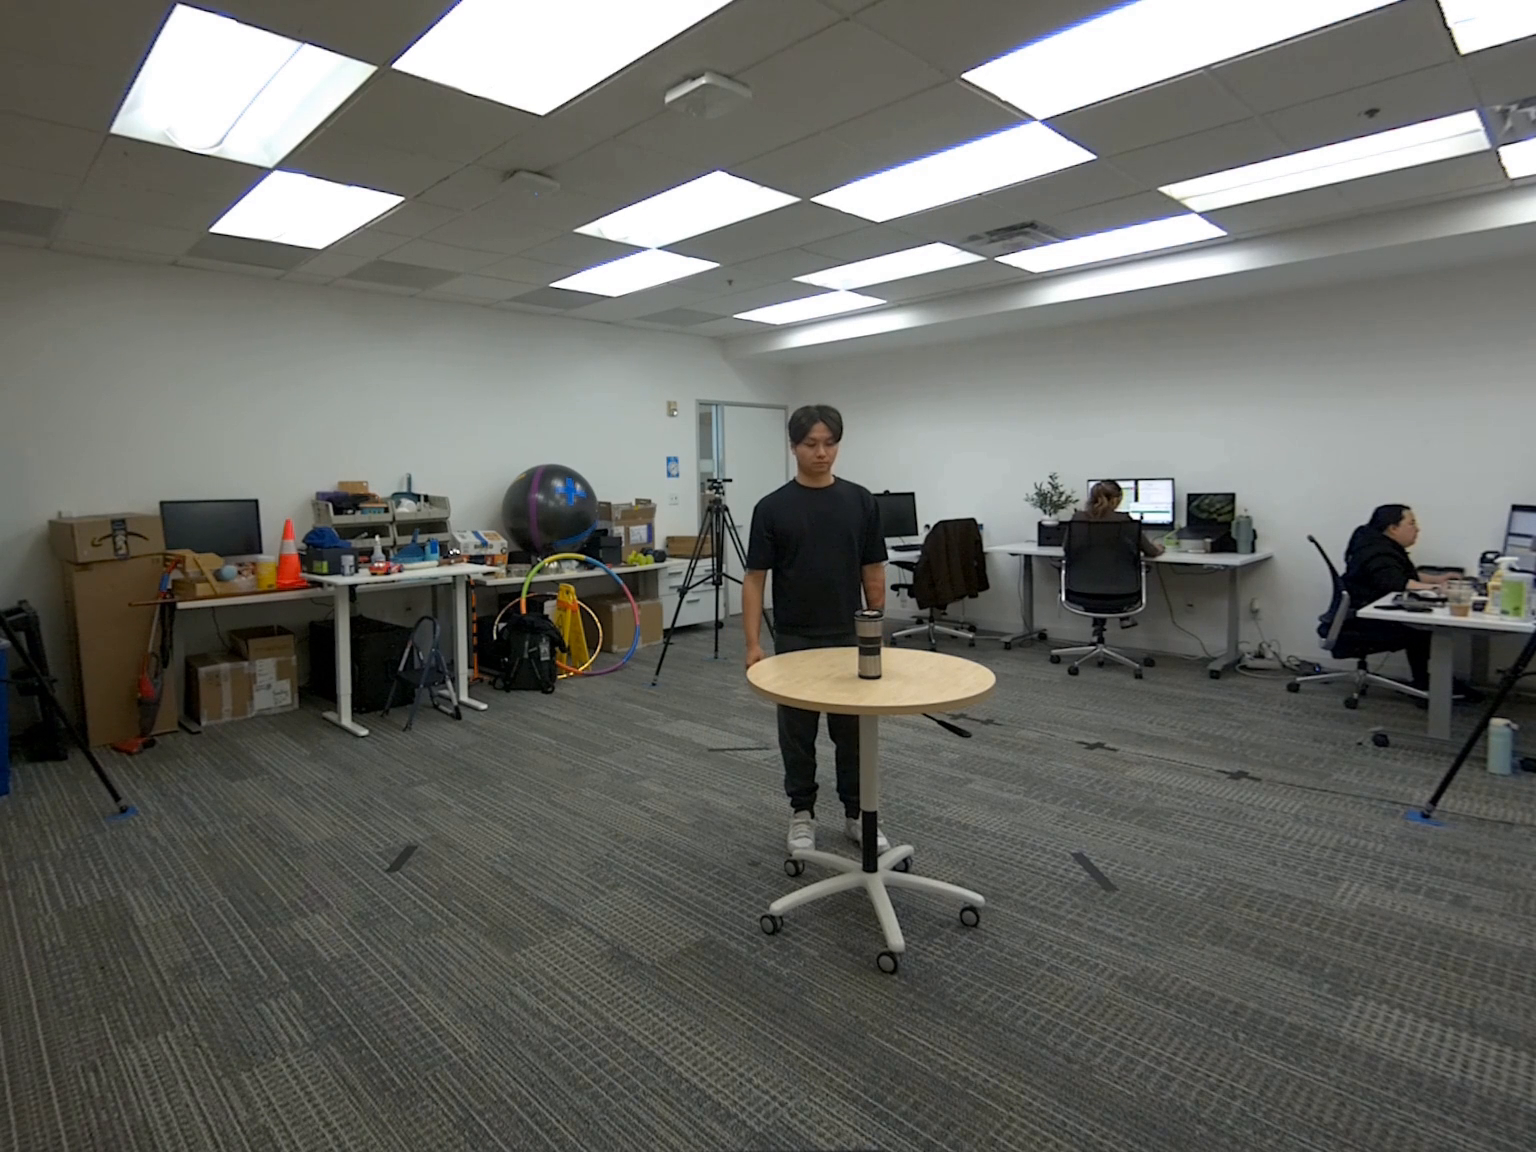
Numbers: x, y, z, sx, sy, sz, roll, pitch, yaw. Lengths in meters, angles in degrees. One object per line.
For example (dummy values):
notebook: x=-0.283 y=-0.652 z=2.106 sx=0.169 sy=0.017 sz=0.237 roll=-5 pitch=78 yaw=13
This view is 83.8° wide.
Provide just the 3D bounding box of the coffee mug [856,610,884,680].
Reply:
coffee mug: x=0.327 y=0.212 z=2.637 sx=0.090 sy=0.202 sz=0.119 roll=-2 pitch=5 yaw=36
